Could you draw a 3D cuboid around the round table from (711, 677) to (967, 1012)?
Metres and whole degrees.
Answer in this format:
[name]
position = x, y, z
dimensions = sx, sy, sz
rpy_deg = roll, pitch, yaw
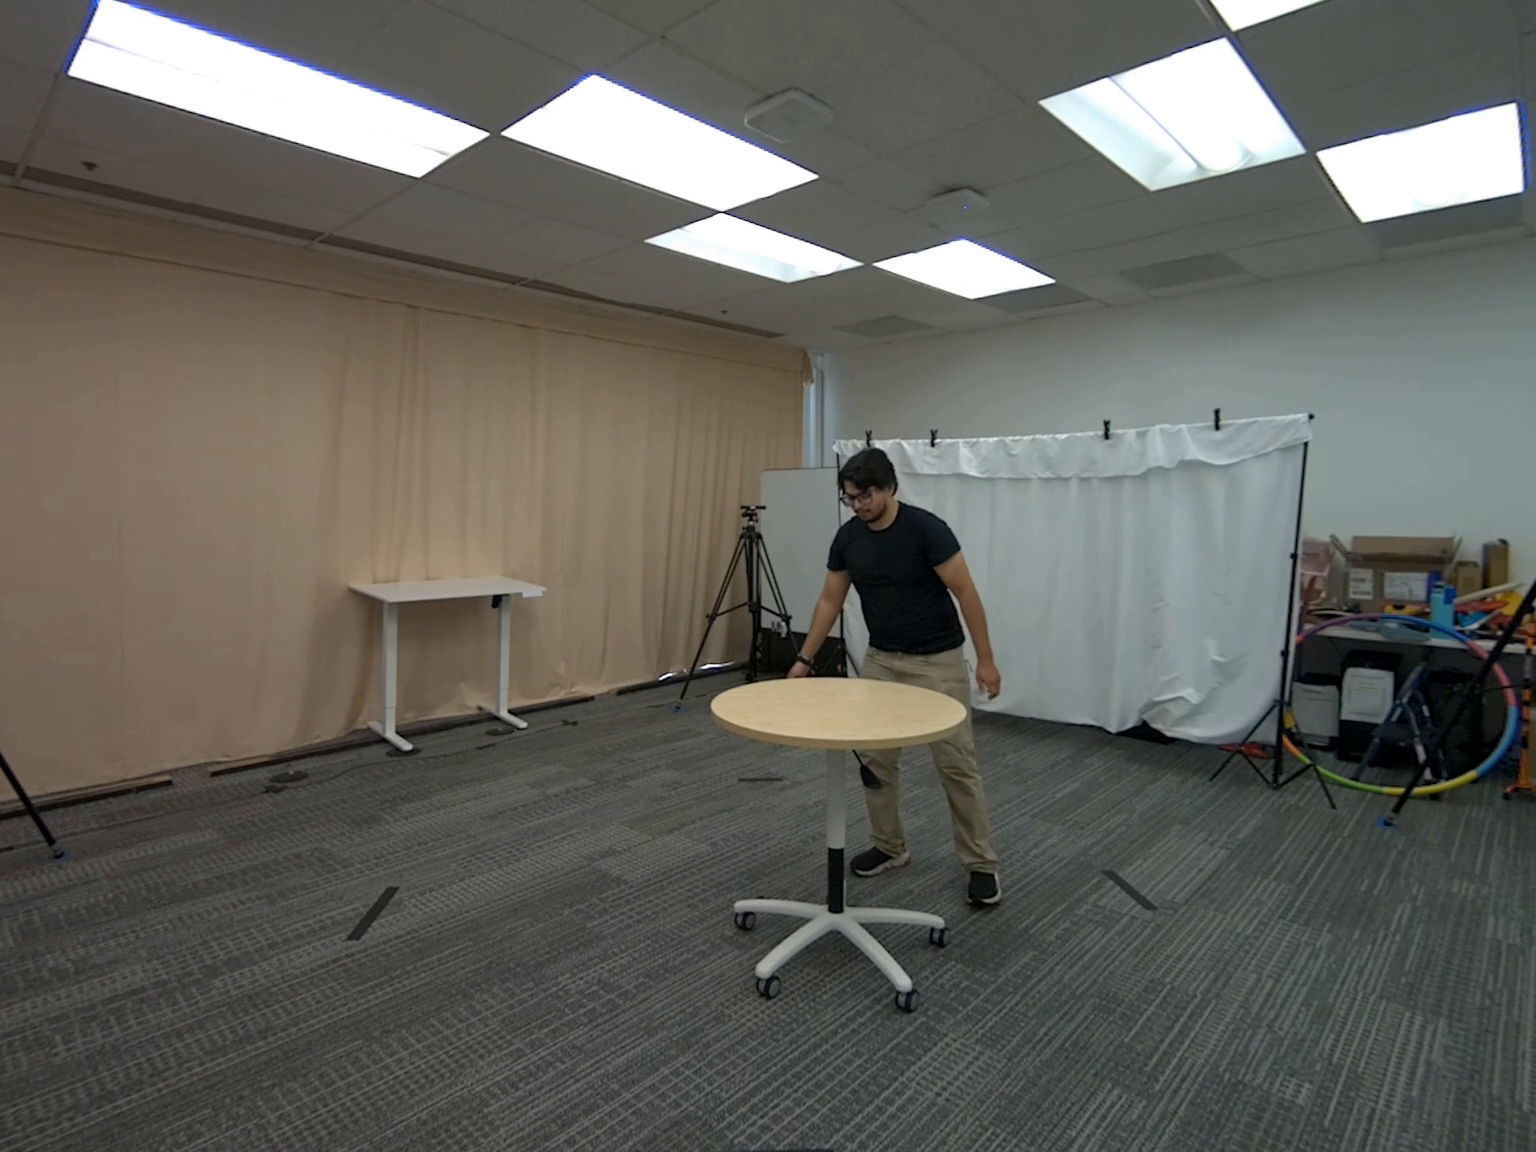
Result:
[round table]
position = 0.216, 0.779, 2.607
dimensions = 0.784, 0.784, 0.788
rpy_deg = -1, 4, -2
